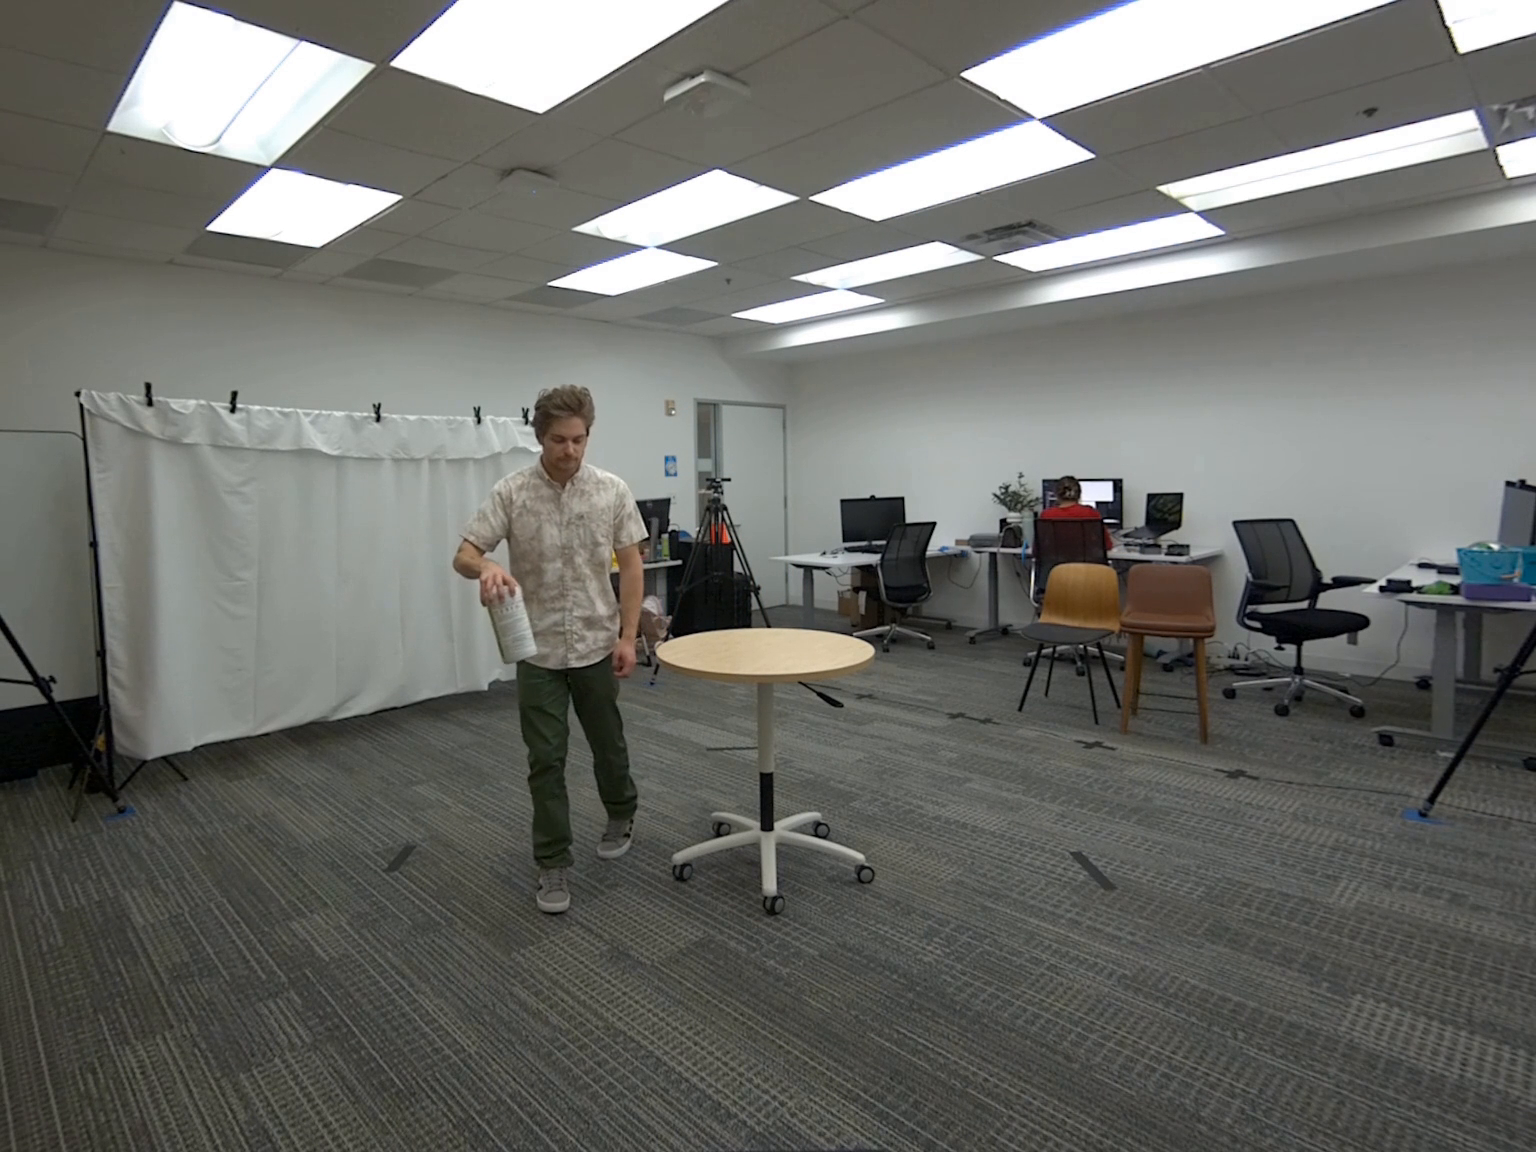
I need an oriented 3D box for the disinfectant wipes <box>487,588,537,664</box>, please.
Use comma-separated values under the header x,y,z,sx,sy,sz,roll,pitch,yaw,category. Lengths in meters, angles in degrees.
x,y,z,sx,sy,sz,roll,pitch,yaw,category
-0.776,0.151,2.579,0.118,0.217,0.118,-15,3,-1,disinfectant wipes
